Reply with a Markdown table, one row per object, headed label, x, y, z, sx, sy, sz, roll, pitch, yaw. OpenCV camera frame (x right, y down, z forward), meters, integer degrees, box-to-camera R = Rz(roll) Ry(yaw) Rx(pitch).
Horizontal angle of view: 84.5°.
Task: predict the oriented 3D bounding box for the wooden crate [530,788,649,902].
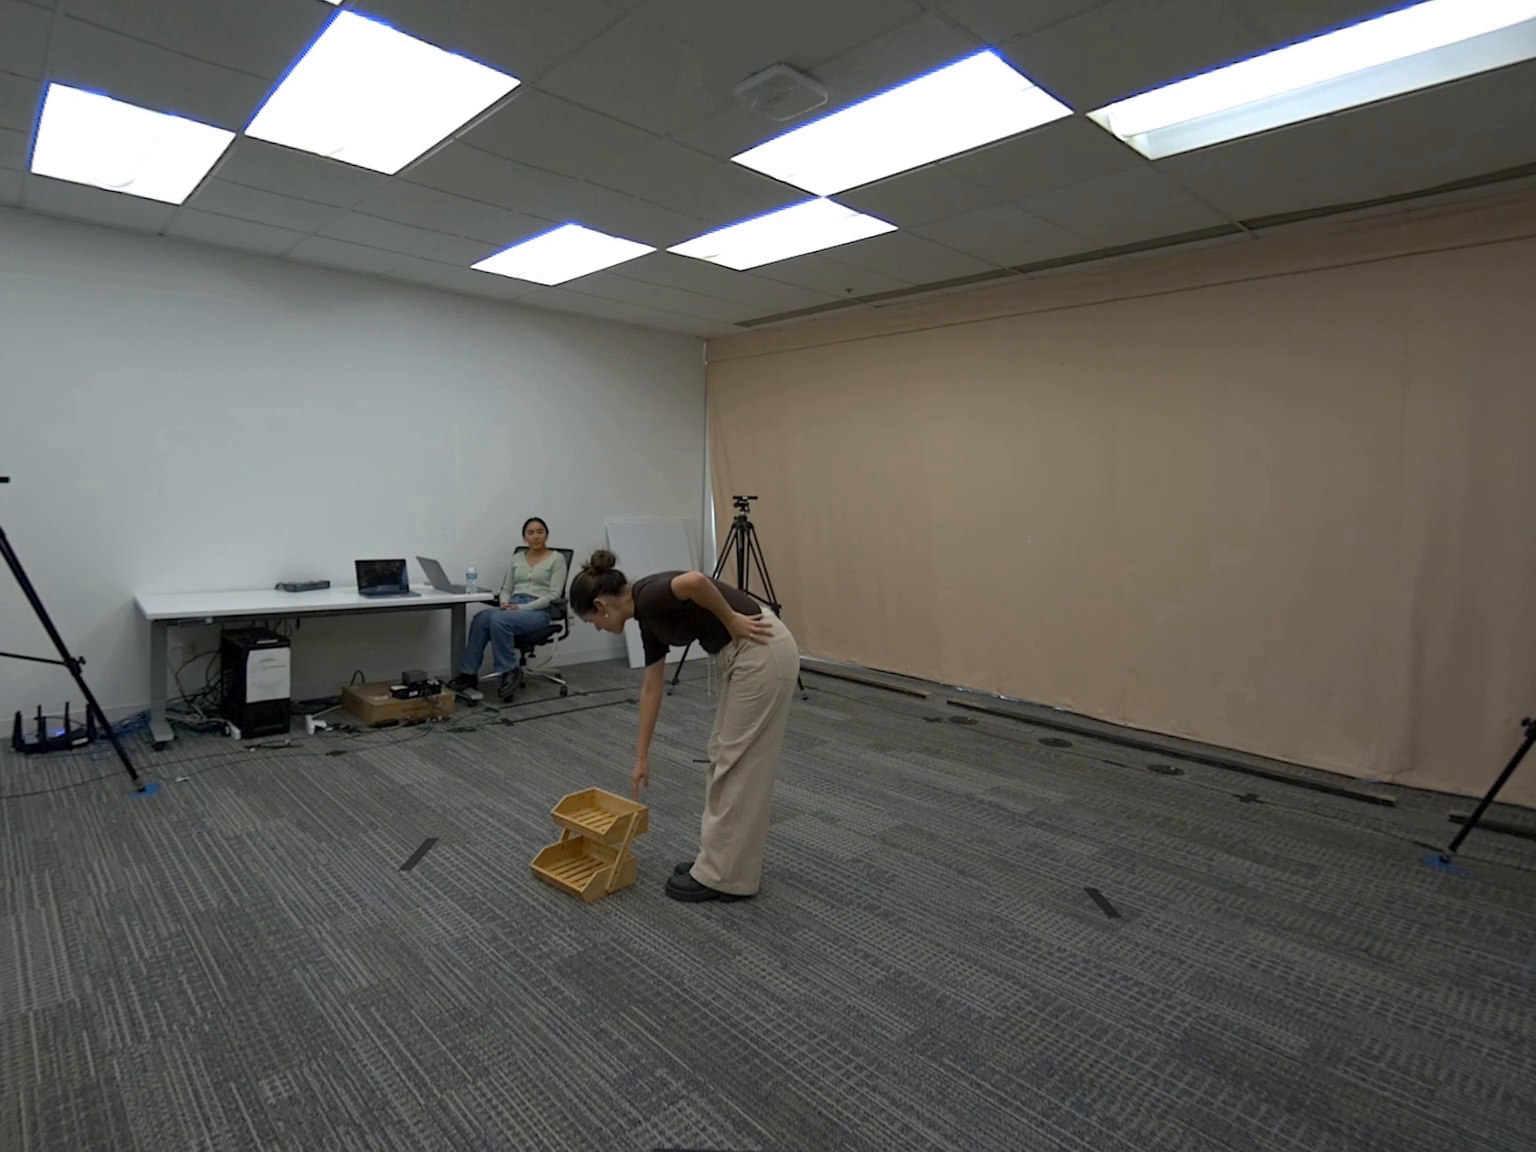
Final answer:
| label | x | y | z | sx | sy | sz | roll | pitch | yaw |
| --- | --- | --- | --- | --- | --- | --- | --- | --- | --- |
| wooden crate | -0.651 | 0.957 | 3.048 | 0.333 | 0.273 | 0.295 | 5 | 5 | 39 |
